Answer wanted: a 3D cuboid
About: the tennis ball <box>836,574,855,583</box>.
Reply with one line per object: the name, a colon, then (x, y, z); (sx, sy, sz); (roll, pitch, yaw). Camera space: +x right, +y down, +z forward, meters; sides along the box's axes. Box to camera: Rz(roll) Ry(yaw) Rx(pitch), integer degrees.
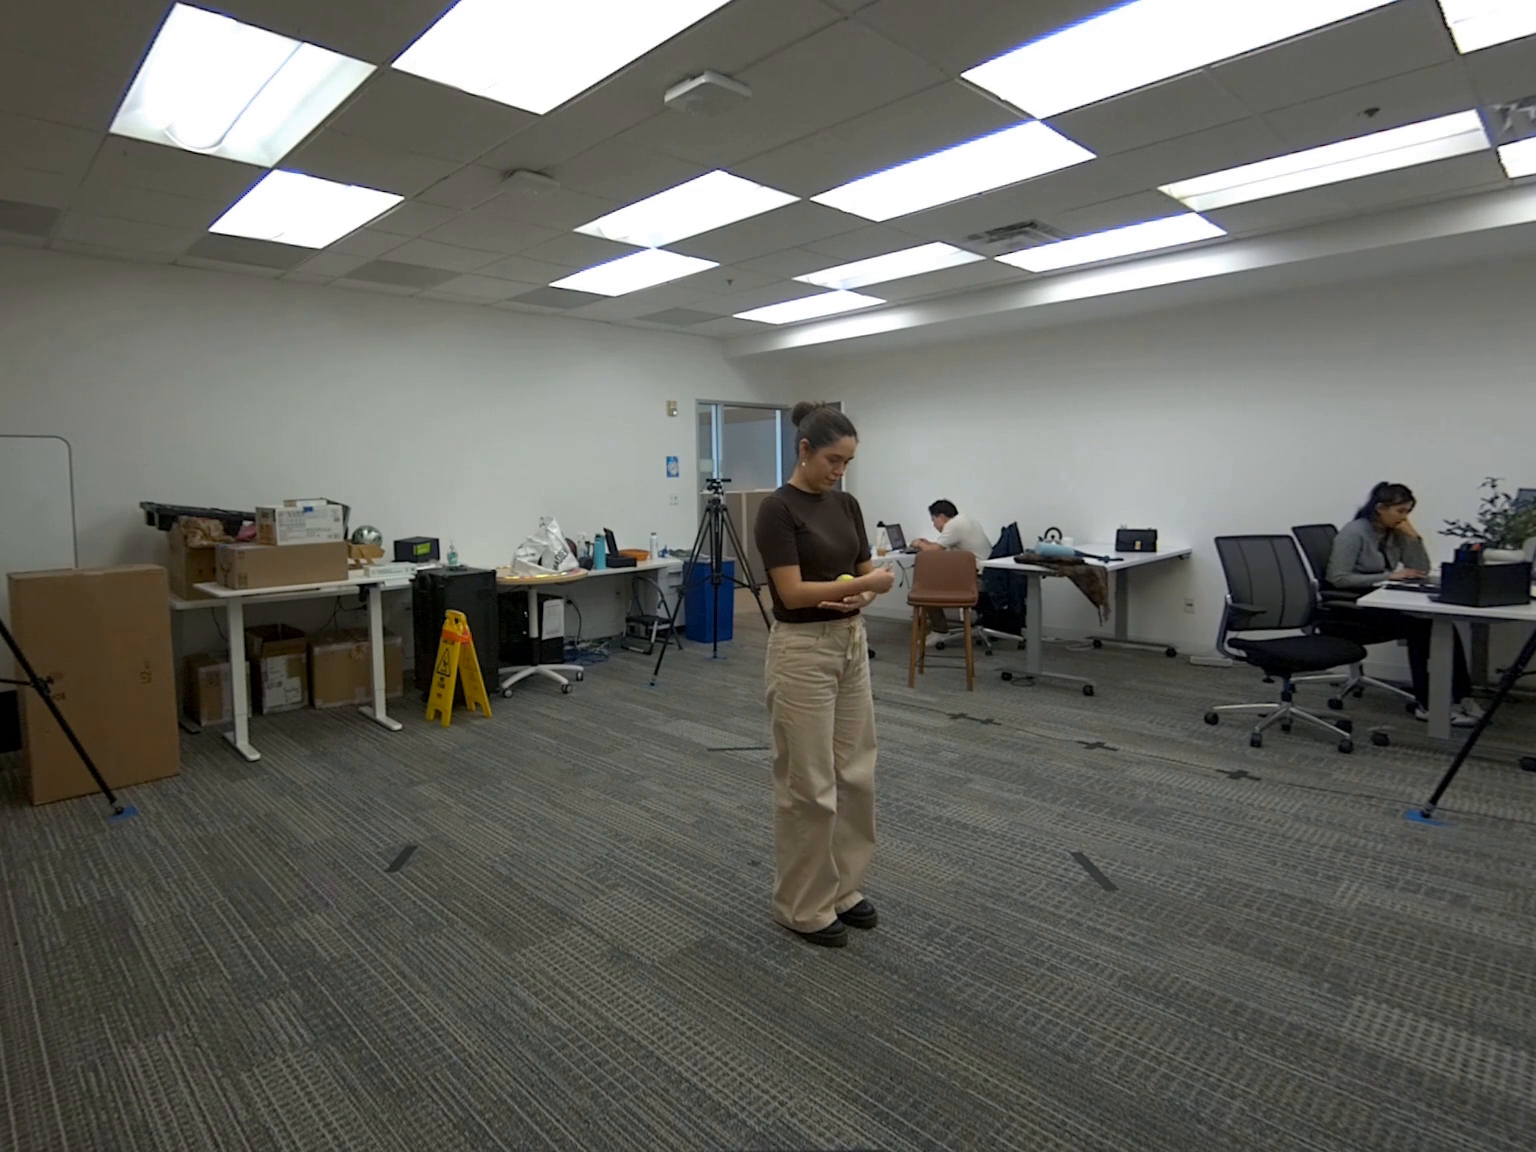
tennis ball: (0.221, 0.027, 2.541); (0.066, 0.066, 0.067); (-1, 5, -2)
